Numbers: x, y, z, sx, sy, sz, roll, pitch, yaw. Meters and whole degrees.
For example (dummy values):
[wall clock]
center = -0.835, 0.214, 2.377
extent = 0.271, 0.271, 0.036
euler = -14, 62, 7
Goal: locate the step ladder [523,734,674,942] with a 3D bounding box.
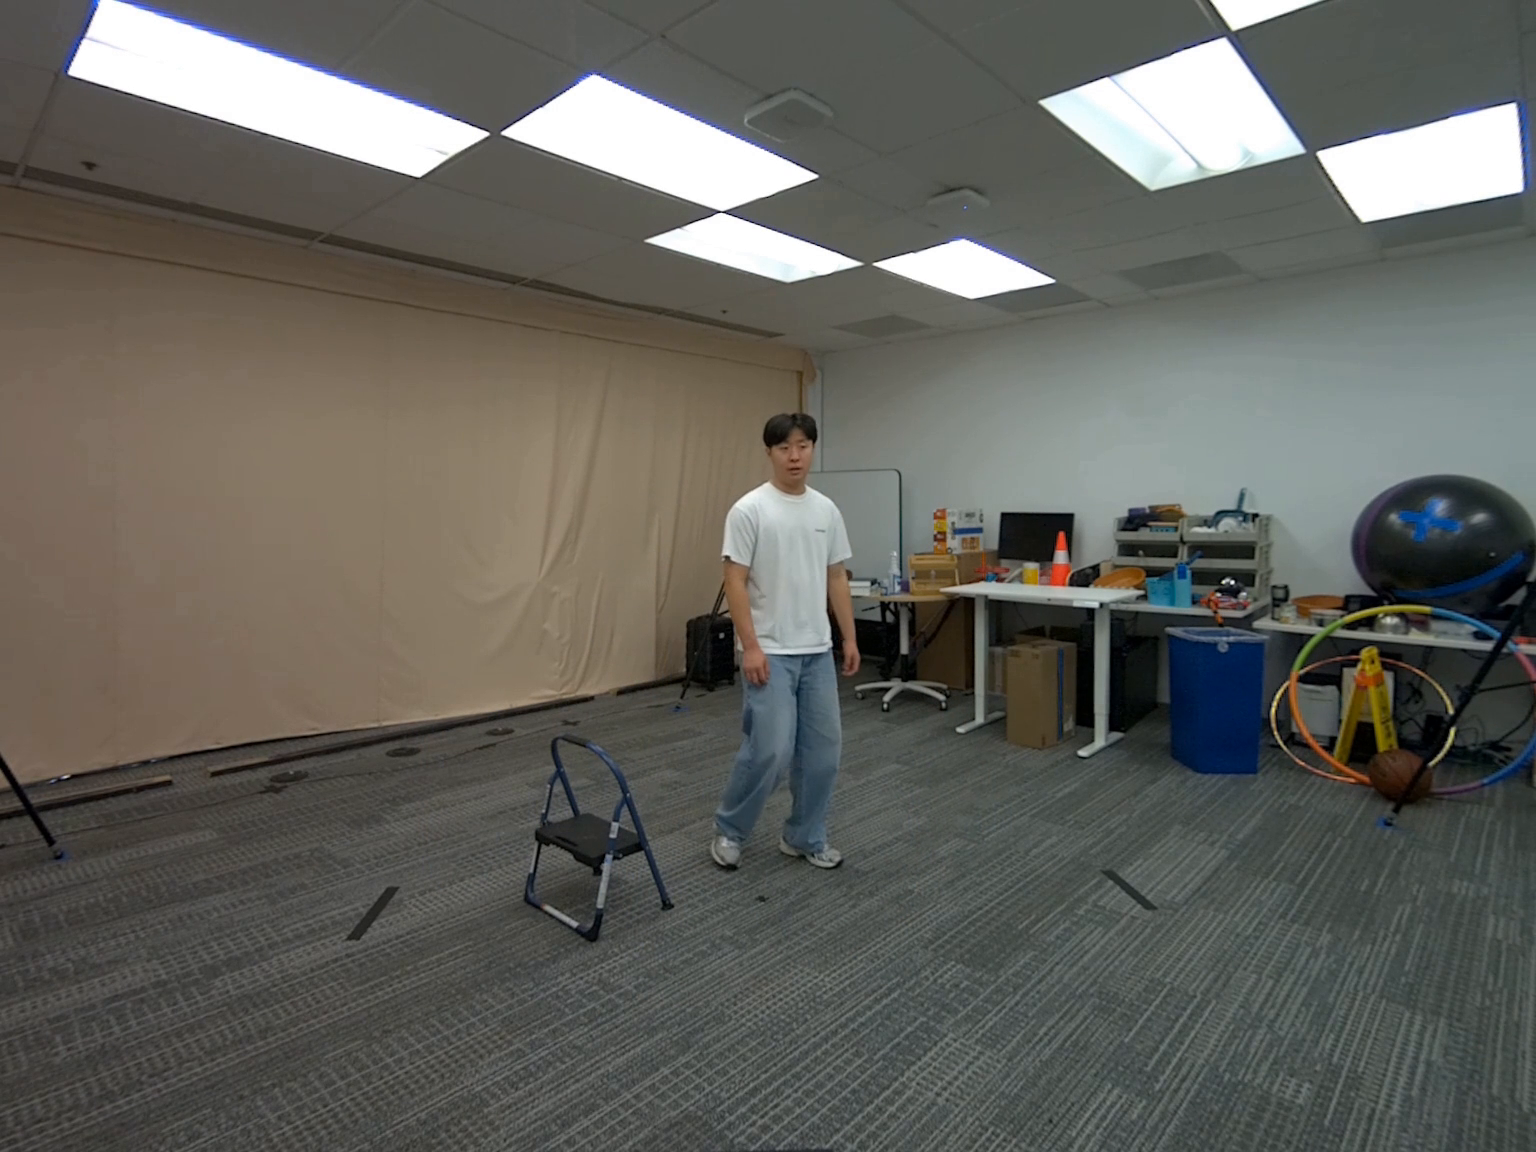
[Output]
[step ladder]
center = -0.597, 0.846, 2.936
extent = 0.445, 0.605, 0.338
euler = 3, 4, 43
